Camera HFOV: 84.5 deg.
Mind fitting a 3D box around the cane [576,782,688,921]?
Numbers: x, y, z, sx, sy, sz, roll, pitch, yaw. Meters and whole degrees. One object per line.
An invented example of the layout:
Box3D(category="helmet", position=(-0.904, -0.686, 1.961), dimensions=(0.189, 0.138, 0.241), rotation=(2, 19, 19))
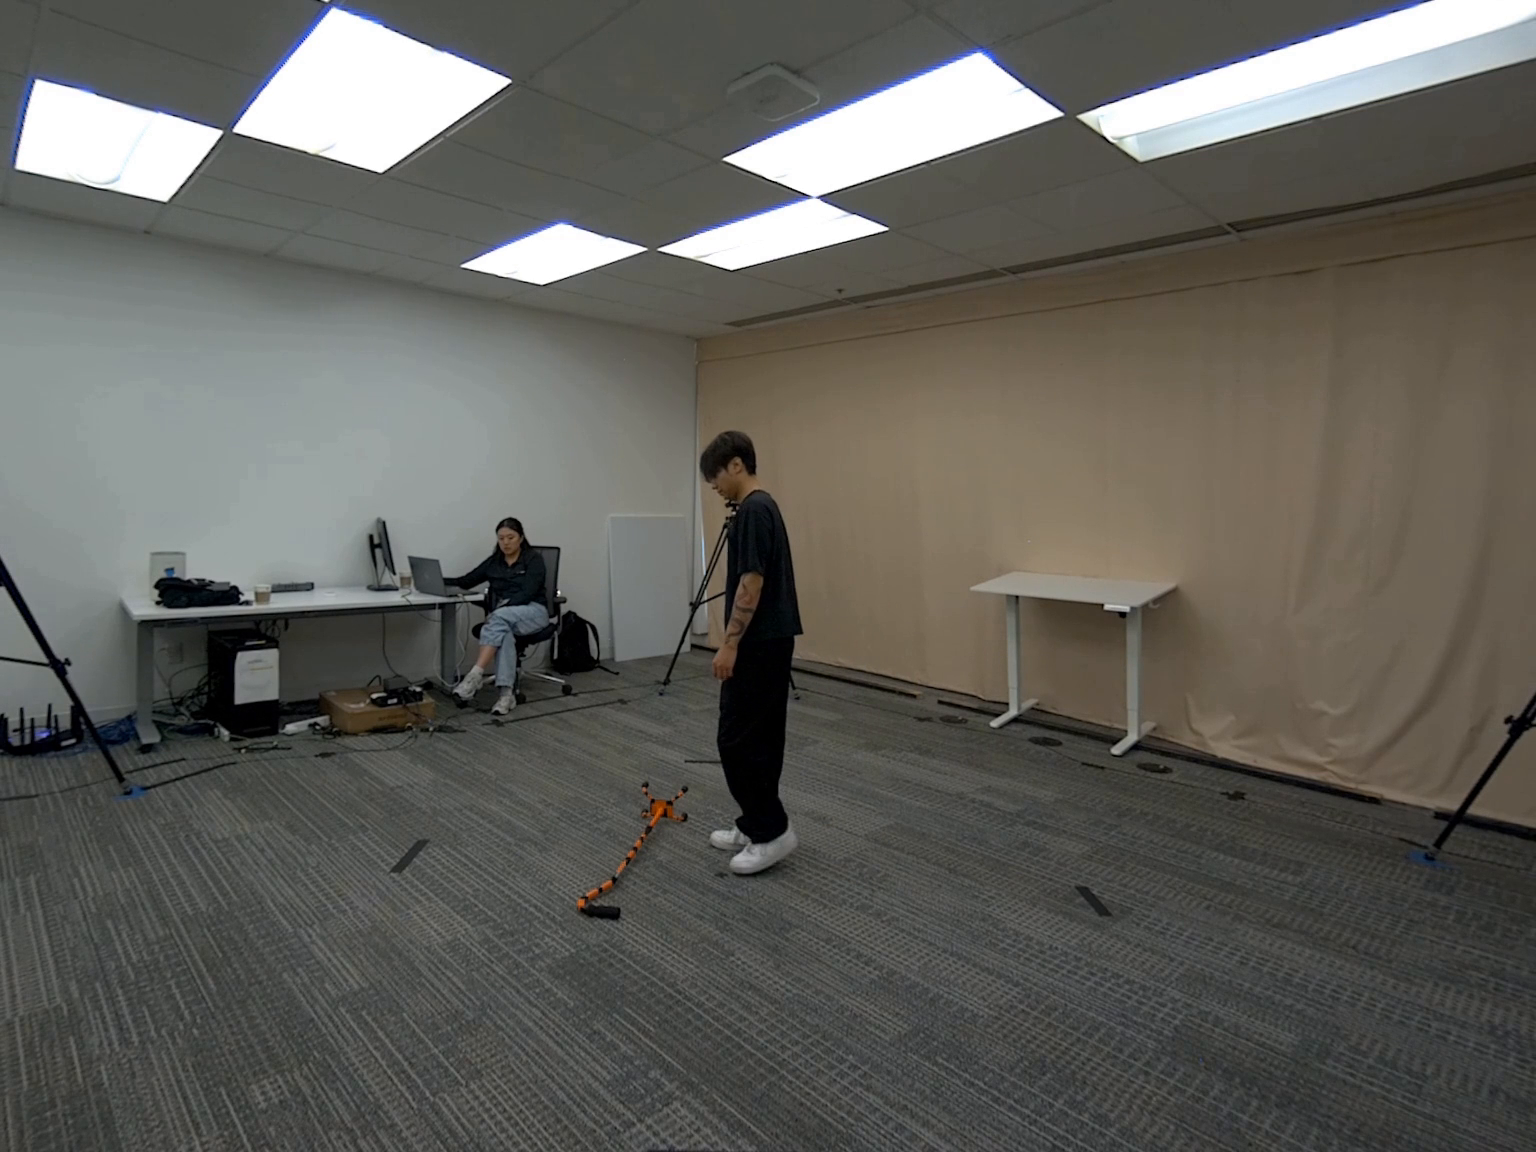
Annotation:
Box3D(category="cane", position=(-0.524, 1.033, 3.206), dimensions=(0.208, 0.151, 0.905), rotation=(2, 8, 8))
